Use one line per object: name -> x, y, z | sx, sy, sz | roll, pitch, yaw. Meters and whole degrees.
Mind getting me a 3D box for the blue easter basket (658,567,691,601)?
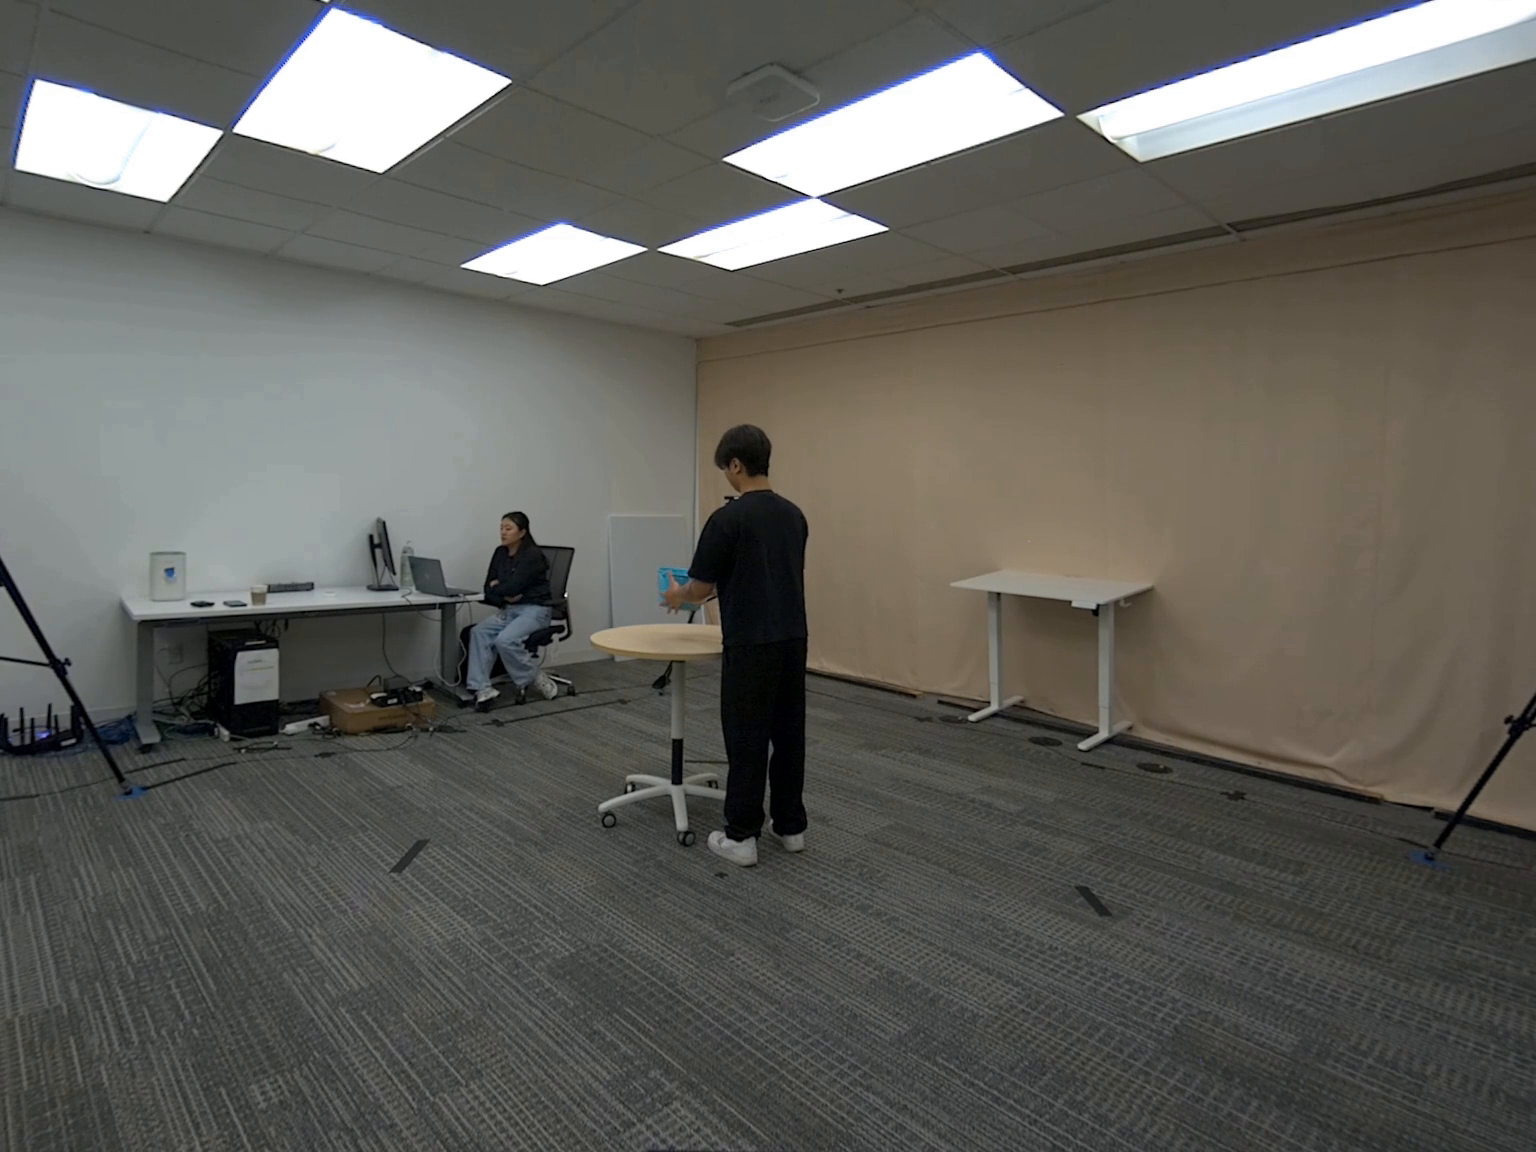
blue easter basket -> -0.374, 0.062, 3.601 | 0.243, 0.155, 0.245 | 5, 6, -2
